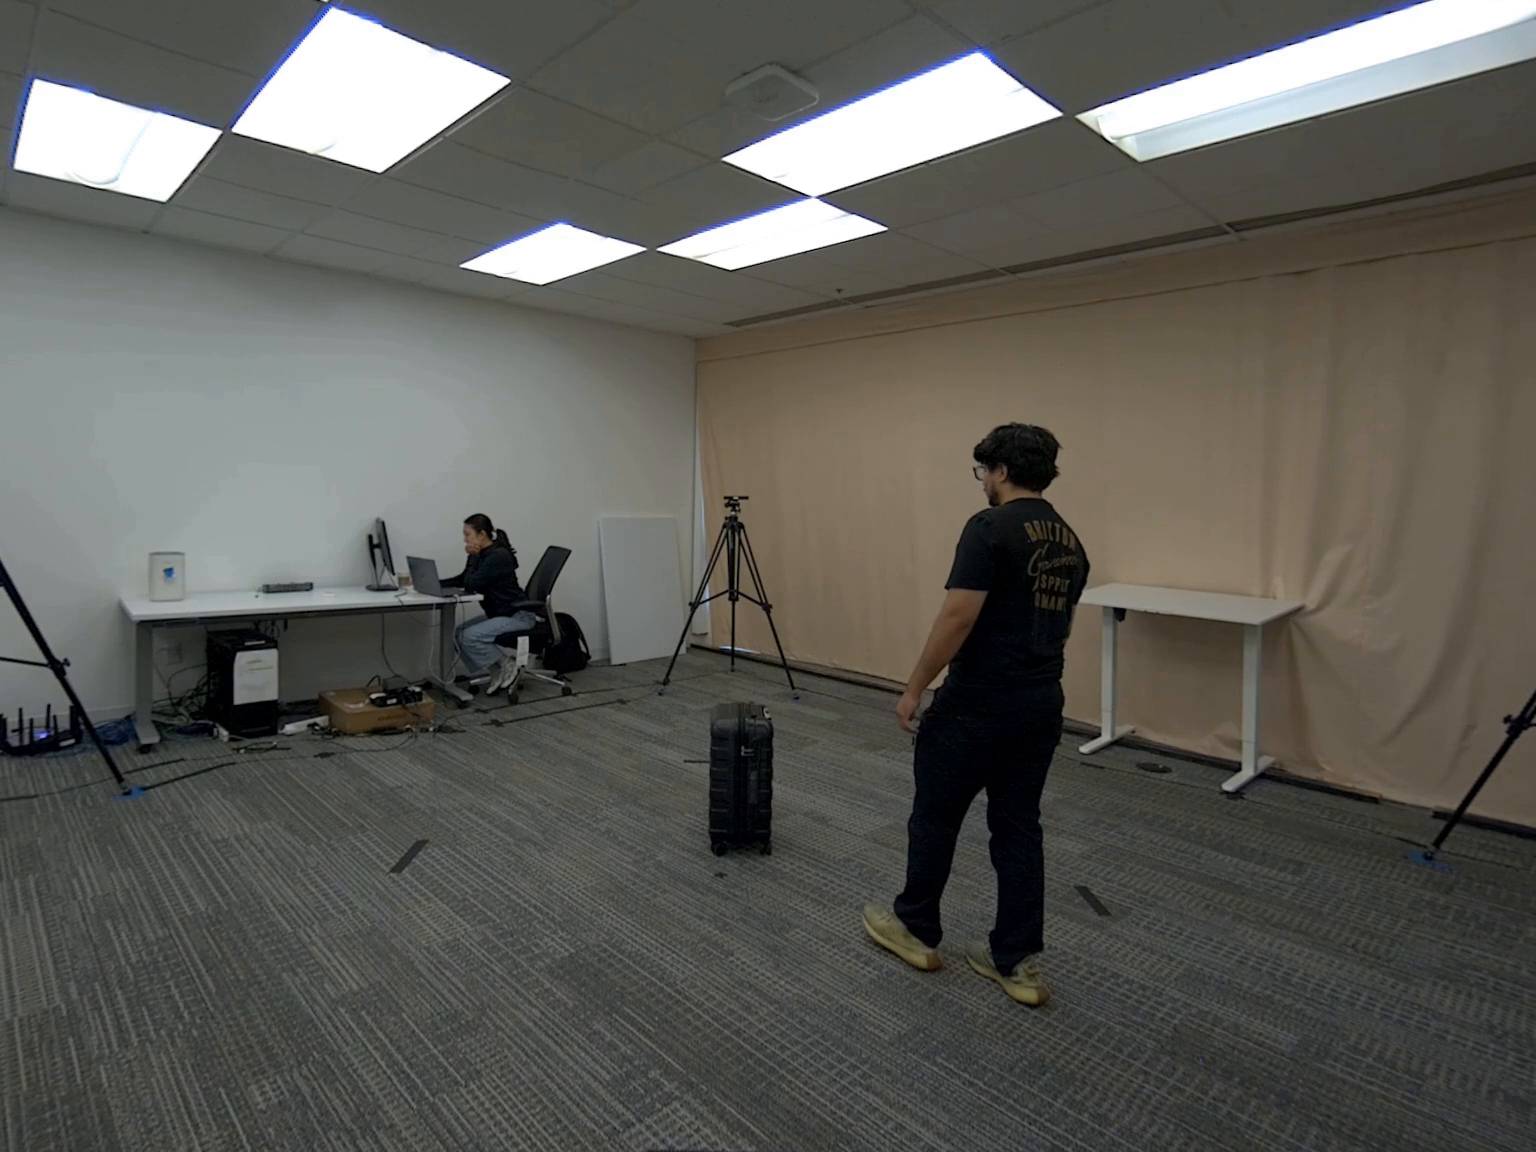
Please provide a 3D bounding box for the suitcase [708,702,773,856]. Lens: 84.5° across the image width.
[{"bbox_3d":[-0.114,0.802,3.410,0.248,0.548,0.377,1,4,-4],"label":"suitcase"}]
